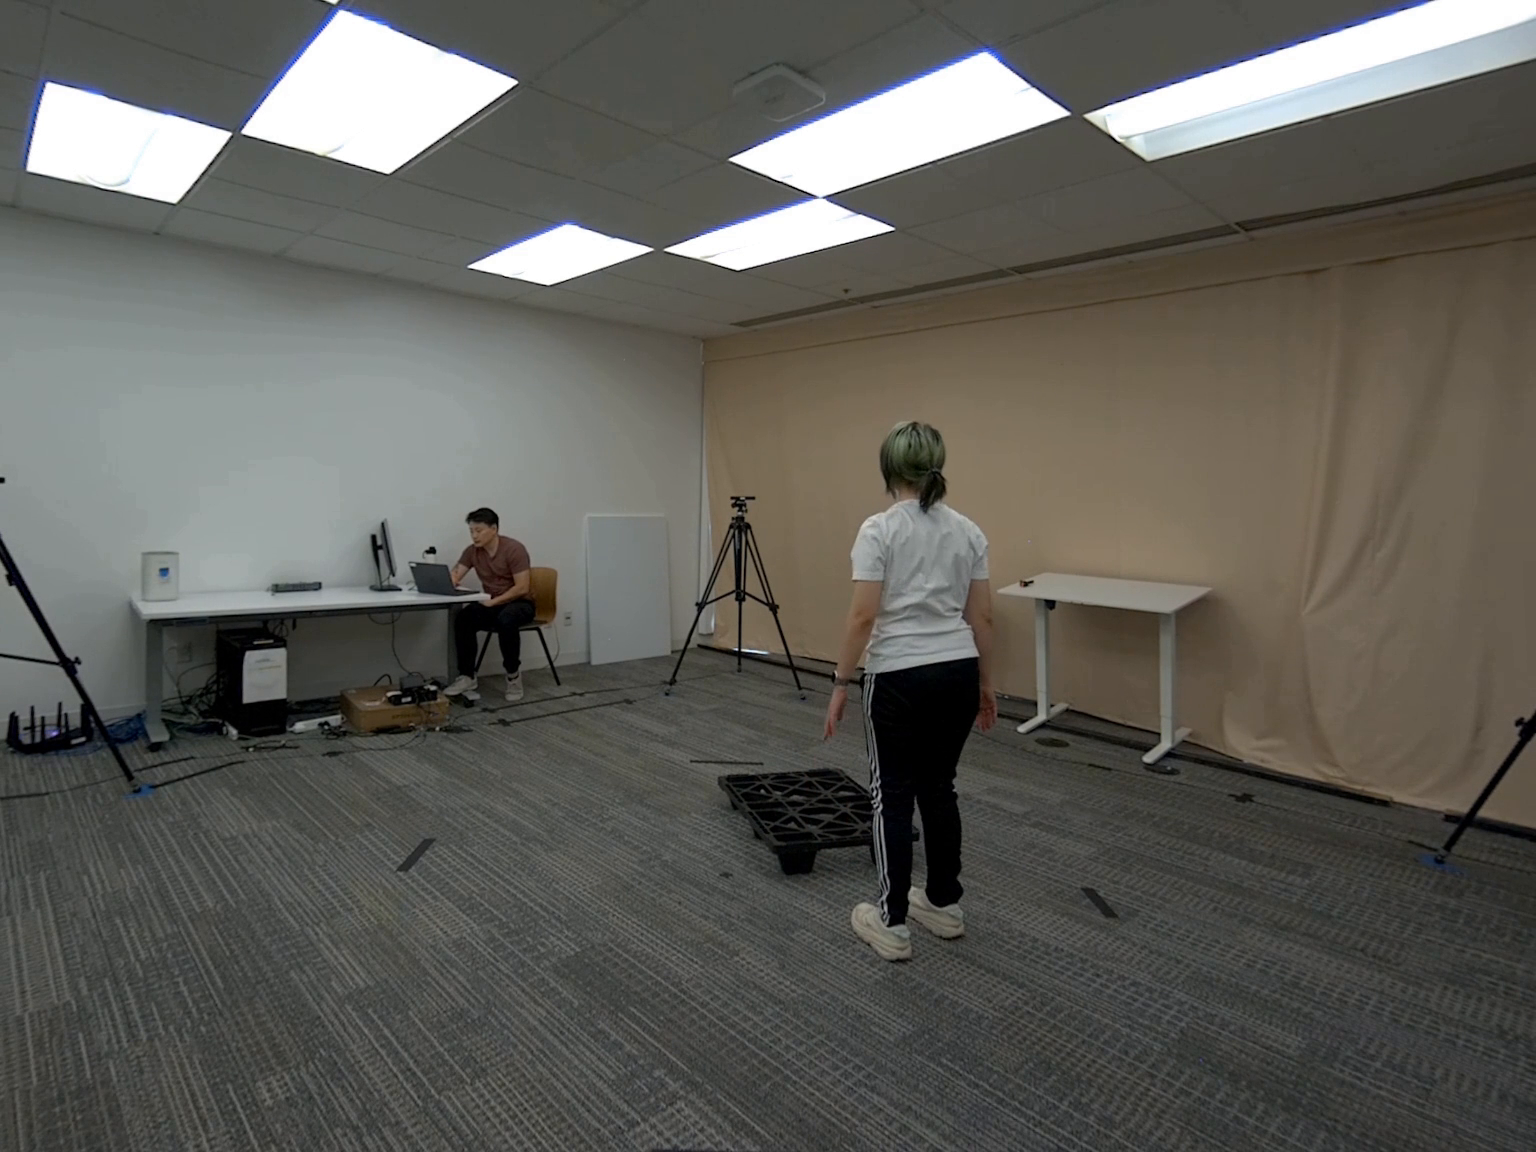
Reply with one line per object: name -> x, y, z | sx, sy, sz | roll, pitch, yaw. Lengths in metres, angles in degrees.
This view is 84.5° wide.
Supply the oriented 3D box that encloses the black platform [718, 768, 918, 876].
black platform -> 0.170, 1.007, 3.522 | 0.597, 0.143, 0.818 | 1, 5, -17
